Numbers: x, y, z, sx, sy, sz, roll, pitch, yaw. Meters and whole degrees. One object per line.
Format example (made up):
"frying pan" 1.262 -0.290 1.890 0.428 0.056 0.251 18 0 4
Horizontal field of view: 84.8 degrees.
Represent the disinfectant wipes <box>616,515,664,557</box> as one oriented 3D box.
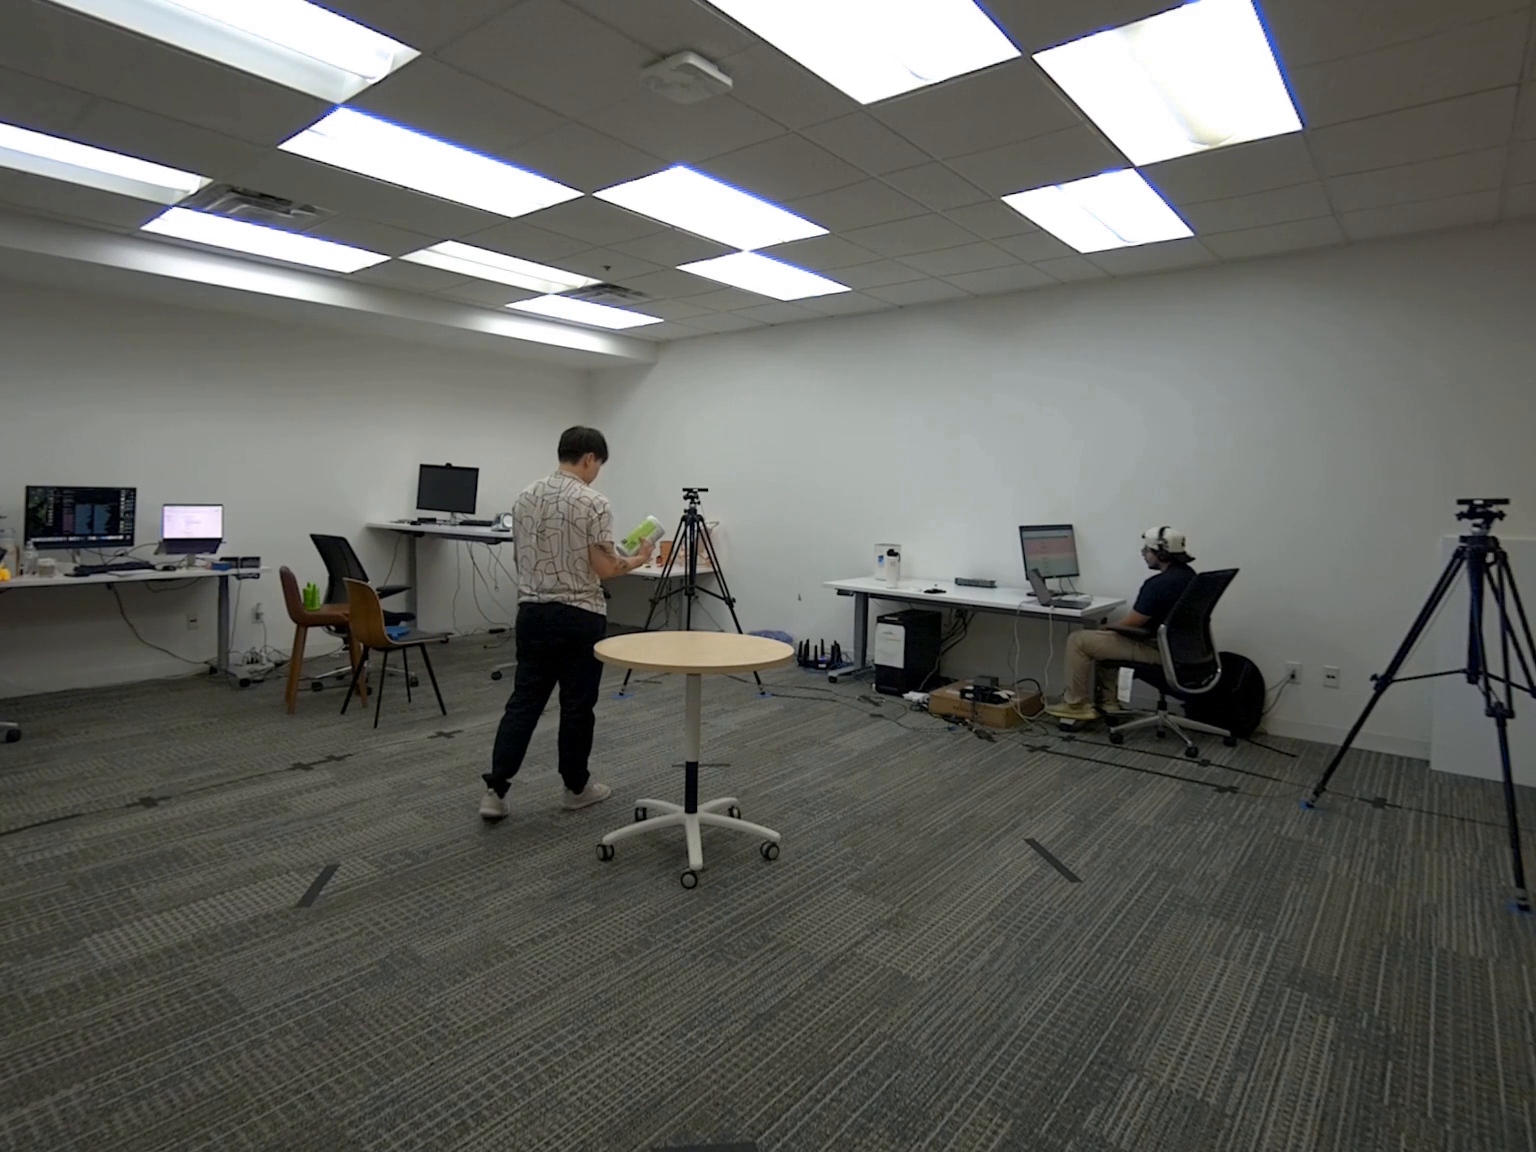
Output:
"disinfectant wipes" -0.592 -0.166 3.827 0.217 0.115 0.121 -43 18 -14
